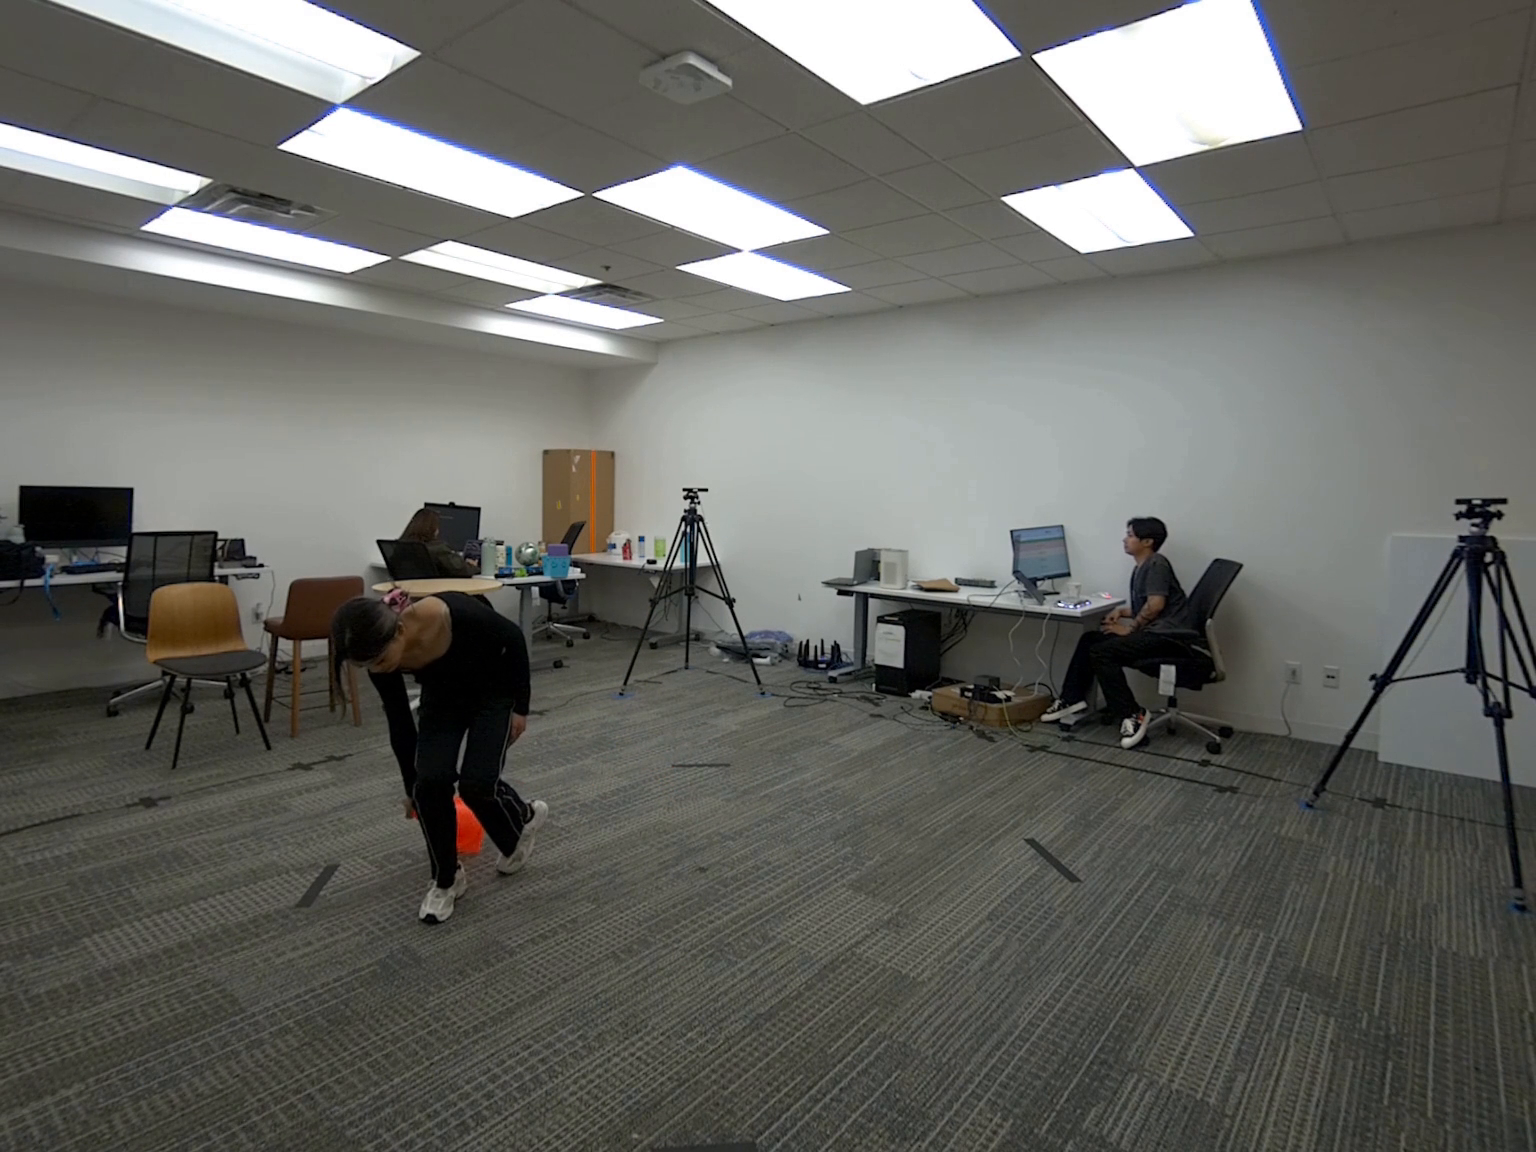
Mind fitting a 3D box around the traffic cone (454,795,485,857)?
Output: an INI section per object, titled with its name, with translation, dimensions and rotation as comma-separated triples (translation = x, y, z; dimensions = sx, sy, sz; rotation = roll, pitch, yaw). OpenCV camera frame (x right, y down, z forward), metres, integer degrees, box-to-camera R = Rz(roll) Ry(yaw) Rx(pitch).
[traffic cone]
translation = -1.220, 0.876, 3.102
dimensions = 0.208, 0.207, 0.371
rotation = 6, -25, 12
